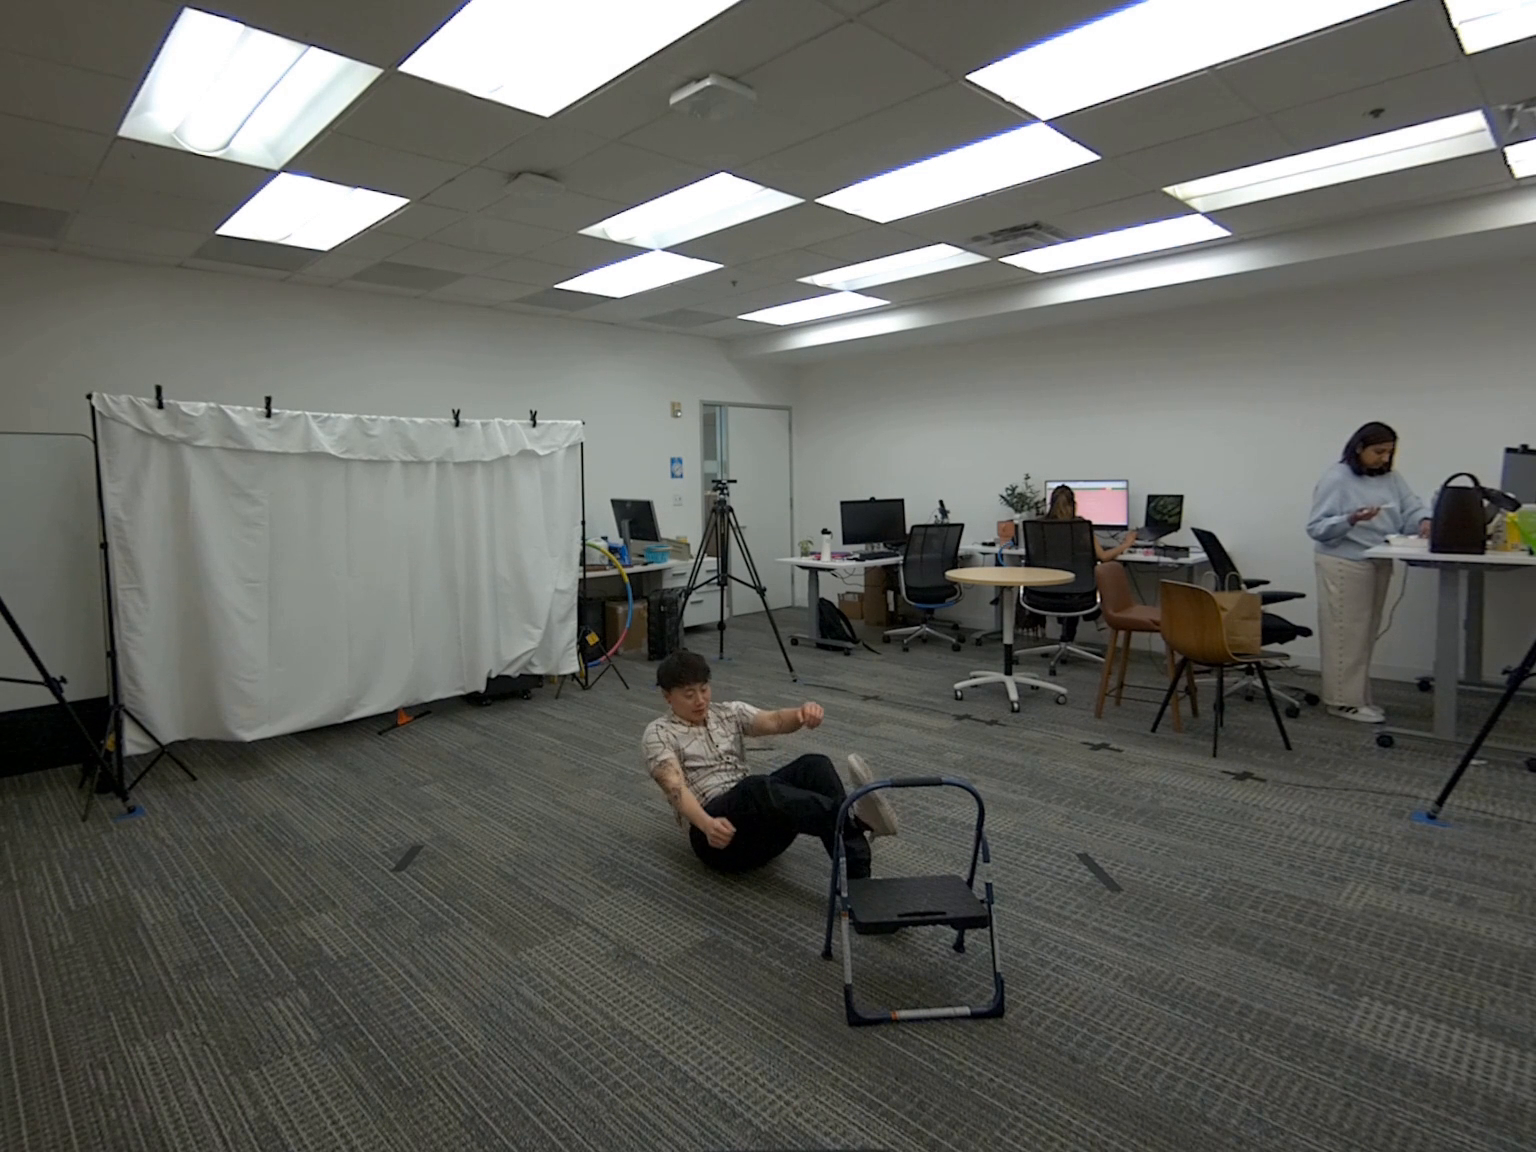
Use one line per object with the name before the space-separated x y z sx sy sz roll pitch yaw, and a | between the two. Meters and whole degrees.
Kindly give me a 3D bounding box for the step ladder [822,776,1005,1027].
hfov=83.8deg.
step ladder | 0.391 0.827 2.340 0.428 0.604 0.352 -1 4 -6
